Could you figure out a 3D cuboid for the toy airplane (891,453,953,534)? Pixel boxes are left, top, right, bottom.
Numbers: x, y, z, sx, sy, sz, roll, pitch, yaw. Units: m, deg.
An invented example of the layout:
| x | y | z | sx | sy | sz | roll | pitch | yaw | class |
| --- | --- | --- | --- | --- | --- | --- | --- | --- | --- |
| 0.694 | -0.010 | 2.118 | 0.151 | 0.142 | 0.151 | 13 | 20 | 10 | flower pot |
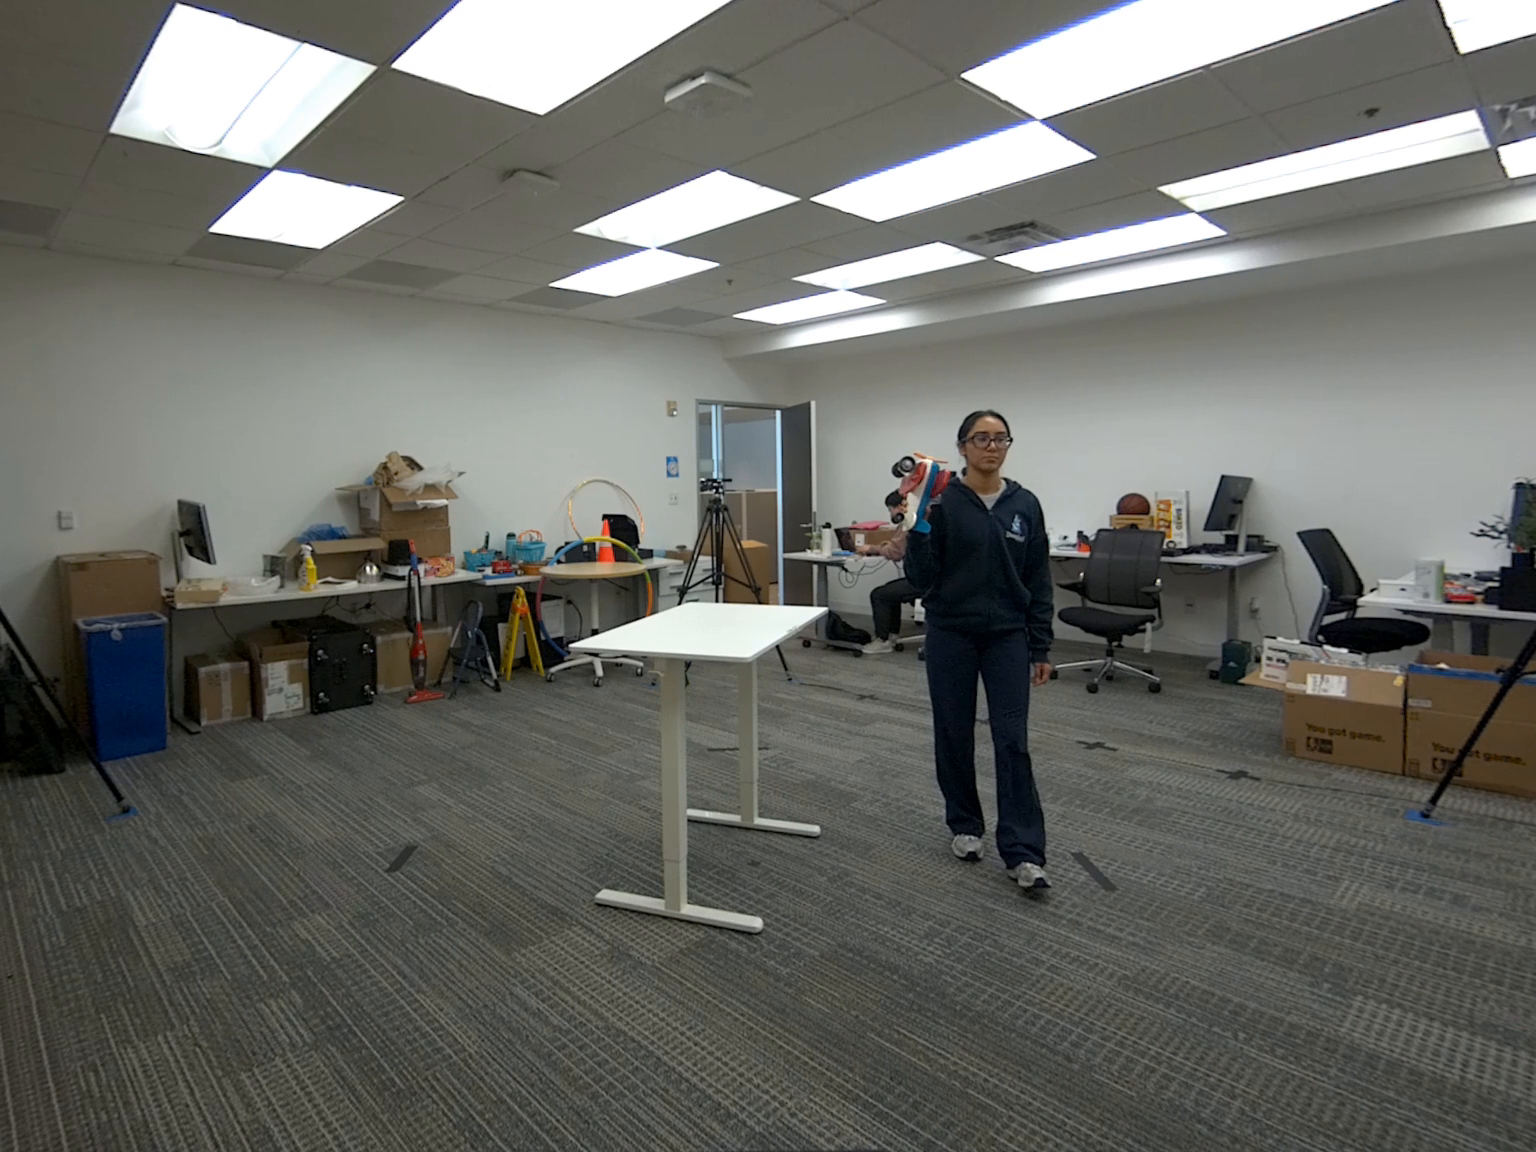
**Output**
| x | y | z | sx | sy | sz | roll | pitch | yaw | class |
| --- | --- | --- | --- | --- | --- | --- | --- | --- | --- |
| 0.506 | -0.284 | 2.879 | 0.156 | 0.255 | 0.256 | 5 | 21 | -5 | toy airplane |
